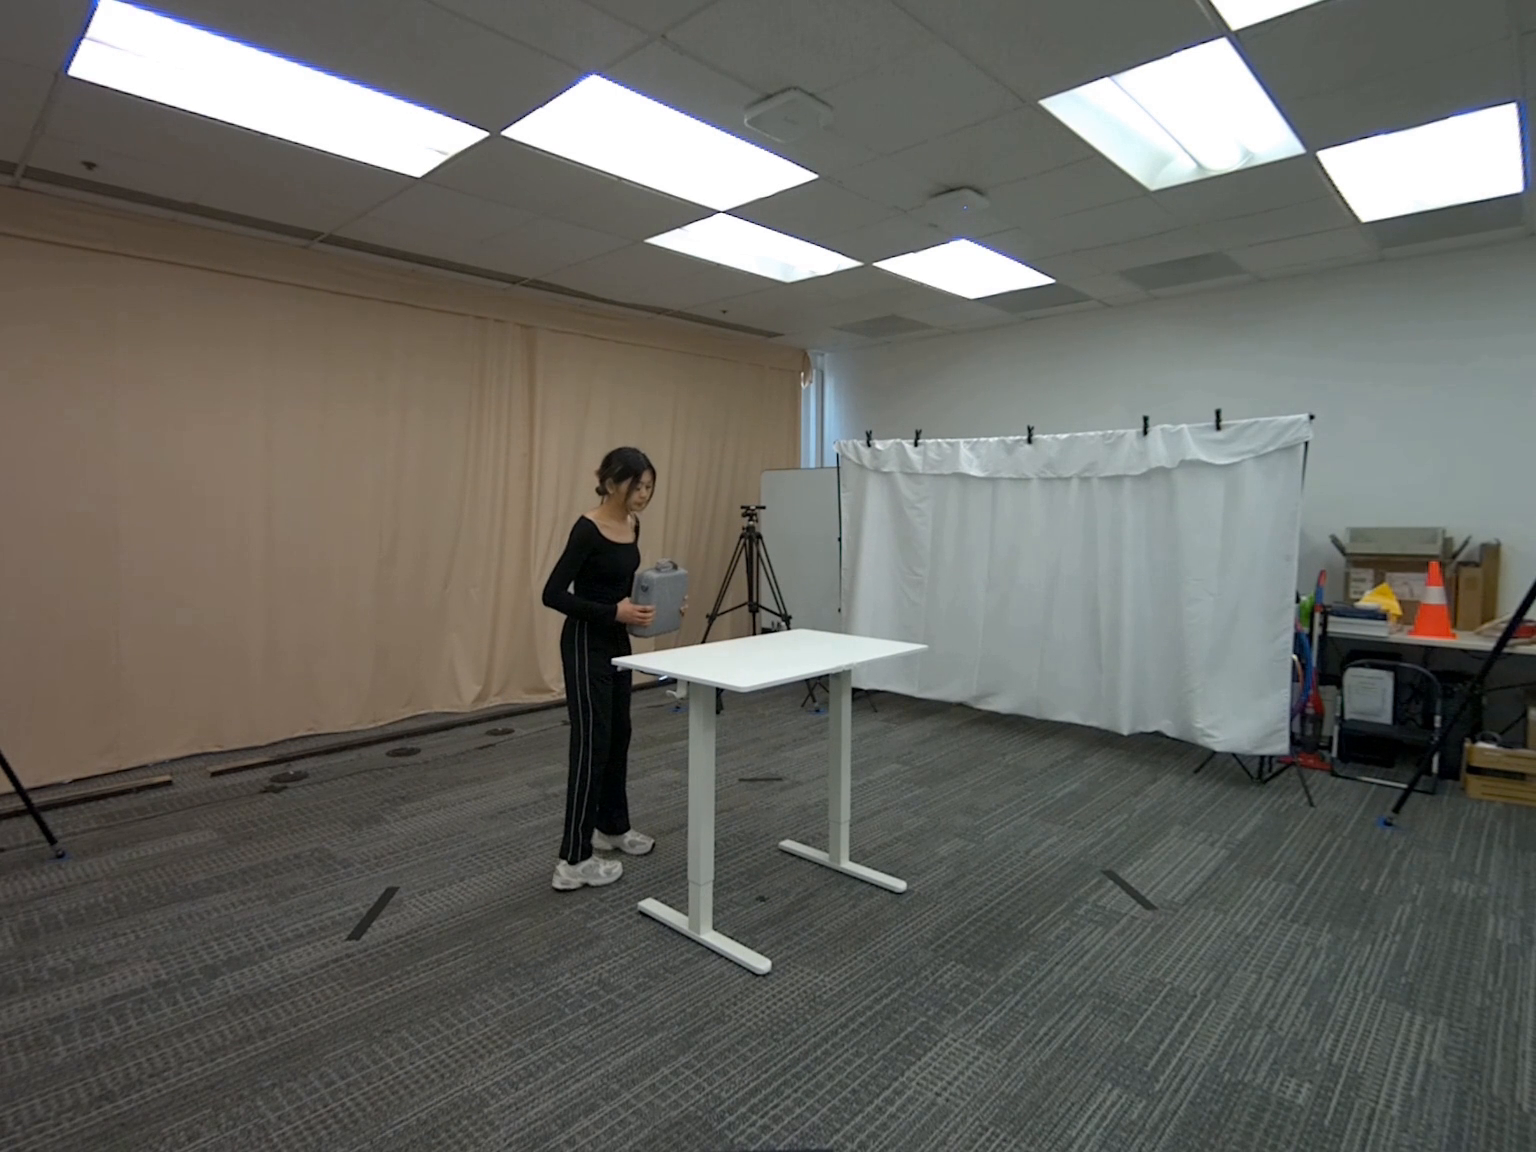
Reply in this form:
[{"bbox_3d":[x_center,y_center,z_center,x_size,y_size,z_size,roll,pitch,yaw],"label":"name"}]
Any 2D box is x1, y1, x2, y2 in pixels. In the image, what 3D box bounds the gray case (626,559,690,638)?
[{"bbox_3d":[-0.409,0.096,3.190,0.107,0.259,0.251,15,12,26],"label":"gray case"}]
